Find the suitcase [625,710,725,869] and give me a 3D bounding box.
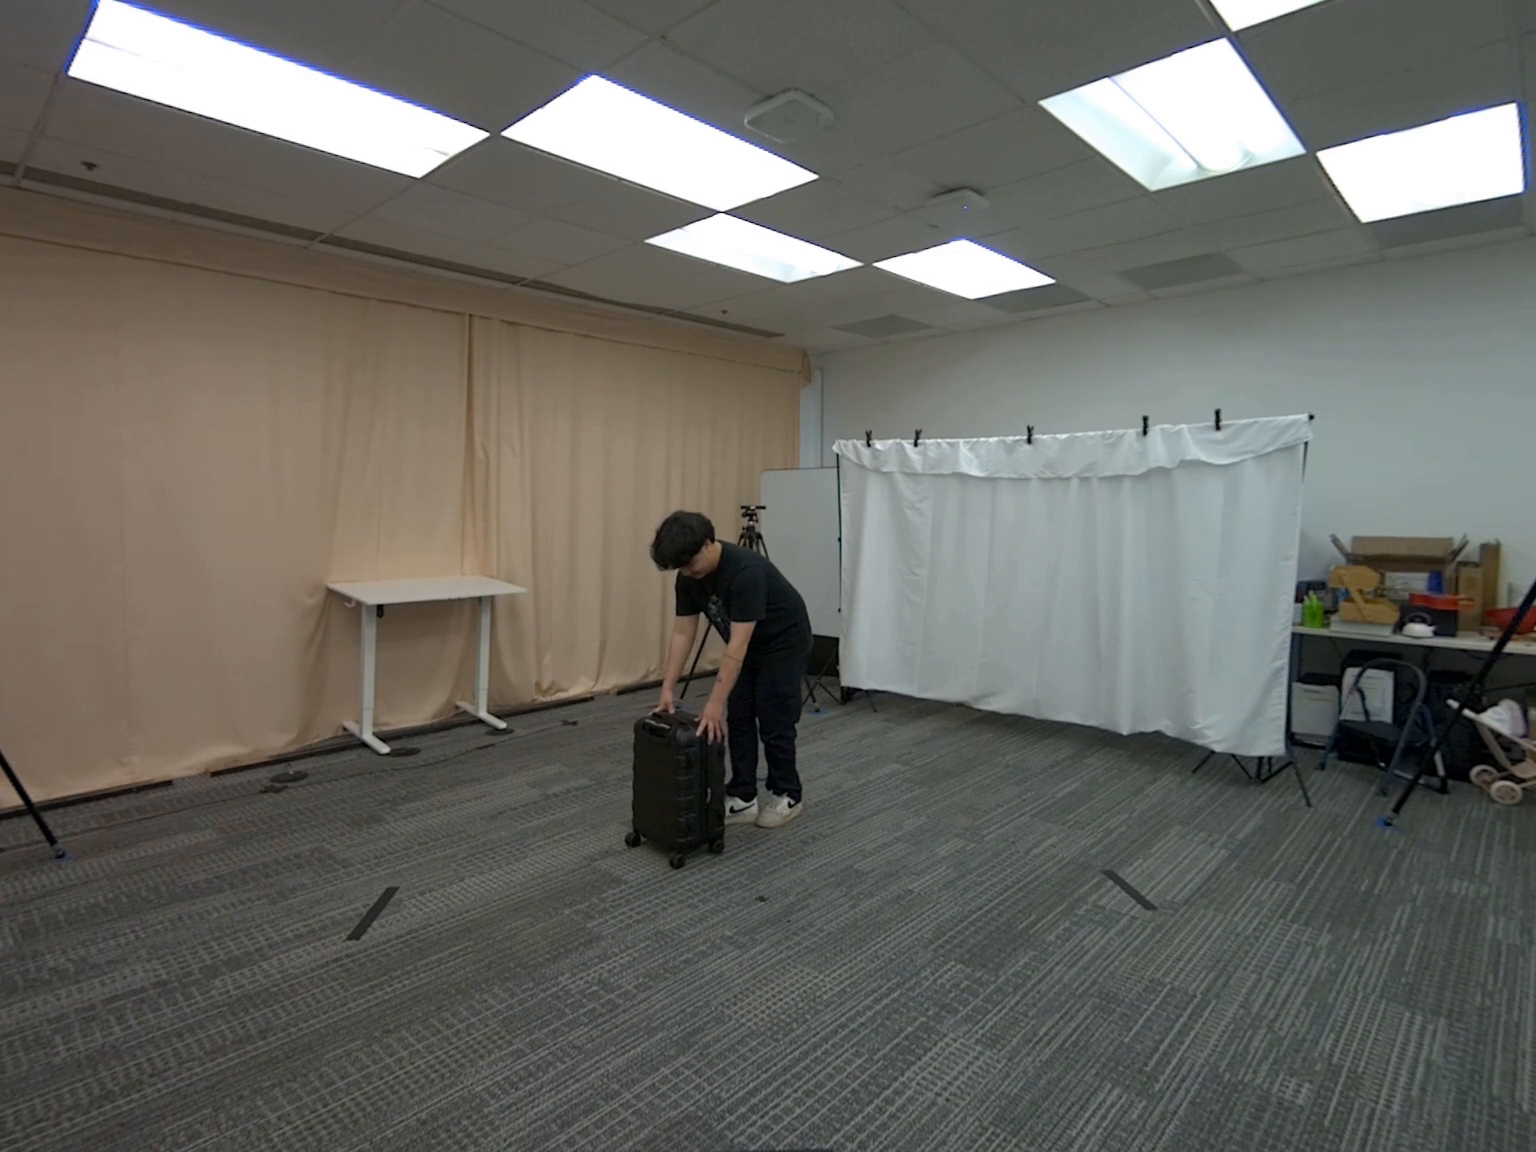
[{"bbox_3d":[-0.370,0.837,3.428,0.240,0.549,0.388,0,2,-44],"label":"suitcase"}]
